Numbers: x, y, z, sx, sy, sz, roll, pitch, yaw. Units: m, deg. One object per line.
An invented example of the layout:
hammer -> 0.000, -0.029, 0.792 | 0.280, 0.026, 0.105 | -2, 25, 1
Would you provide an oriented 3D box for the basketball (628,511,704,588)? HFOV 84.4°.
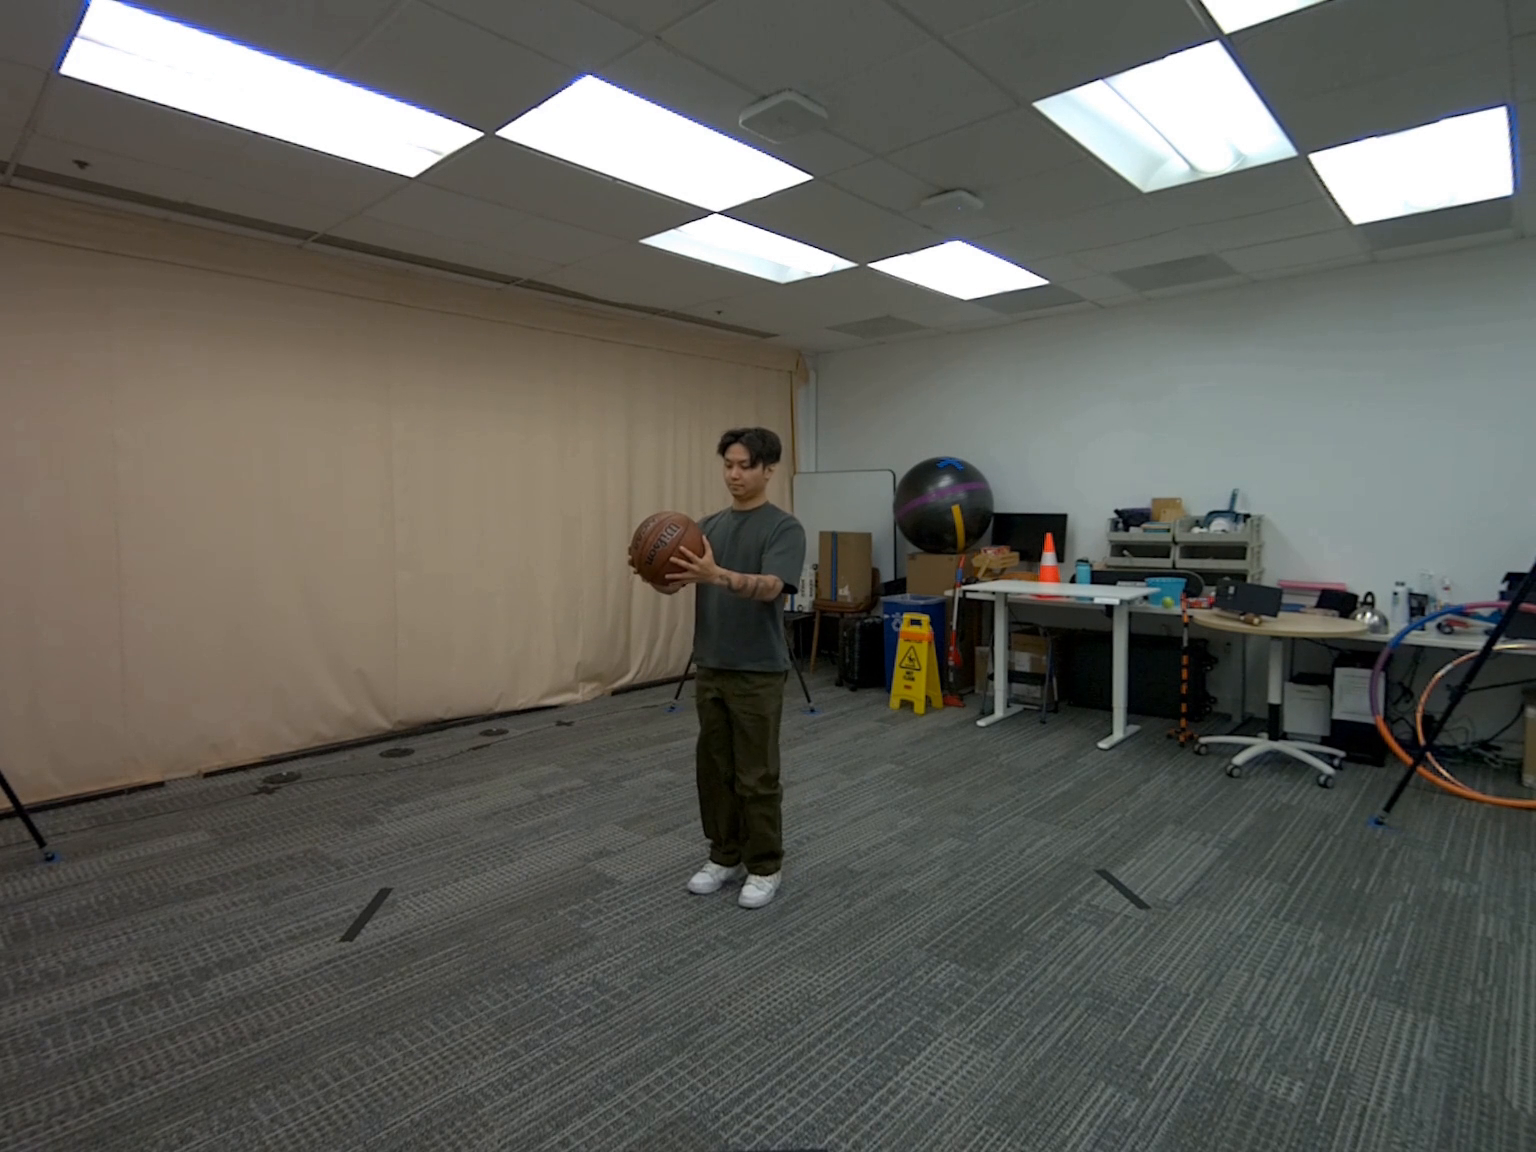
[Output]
basketball -> -0.312, -0.082, 2.682 | 0.236, 0.235, 0.237 | 0, 4, -2
